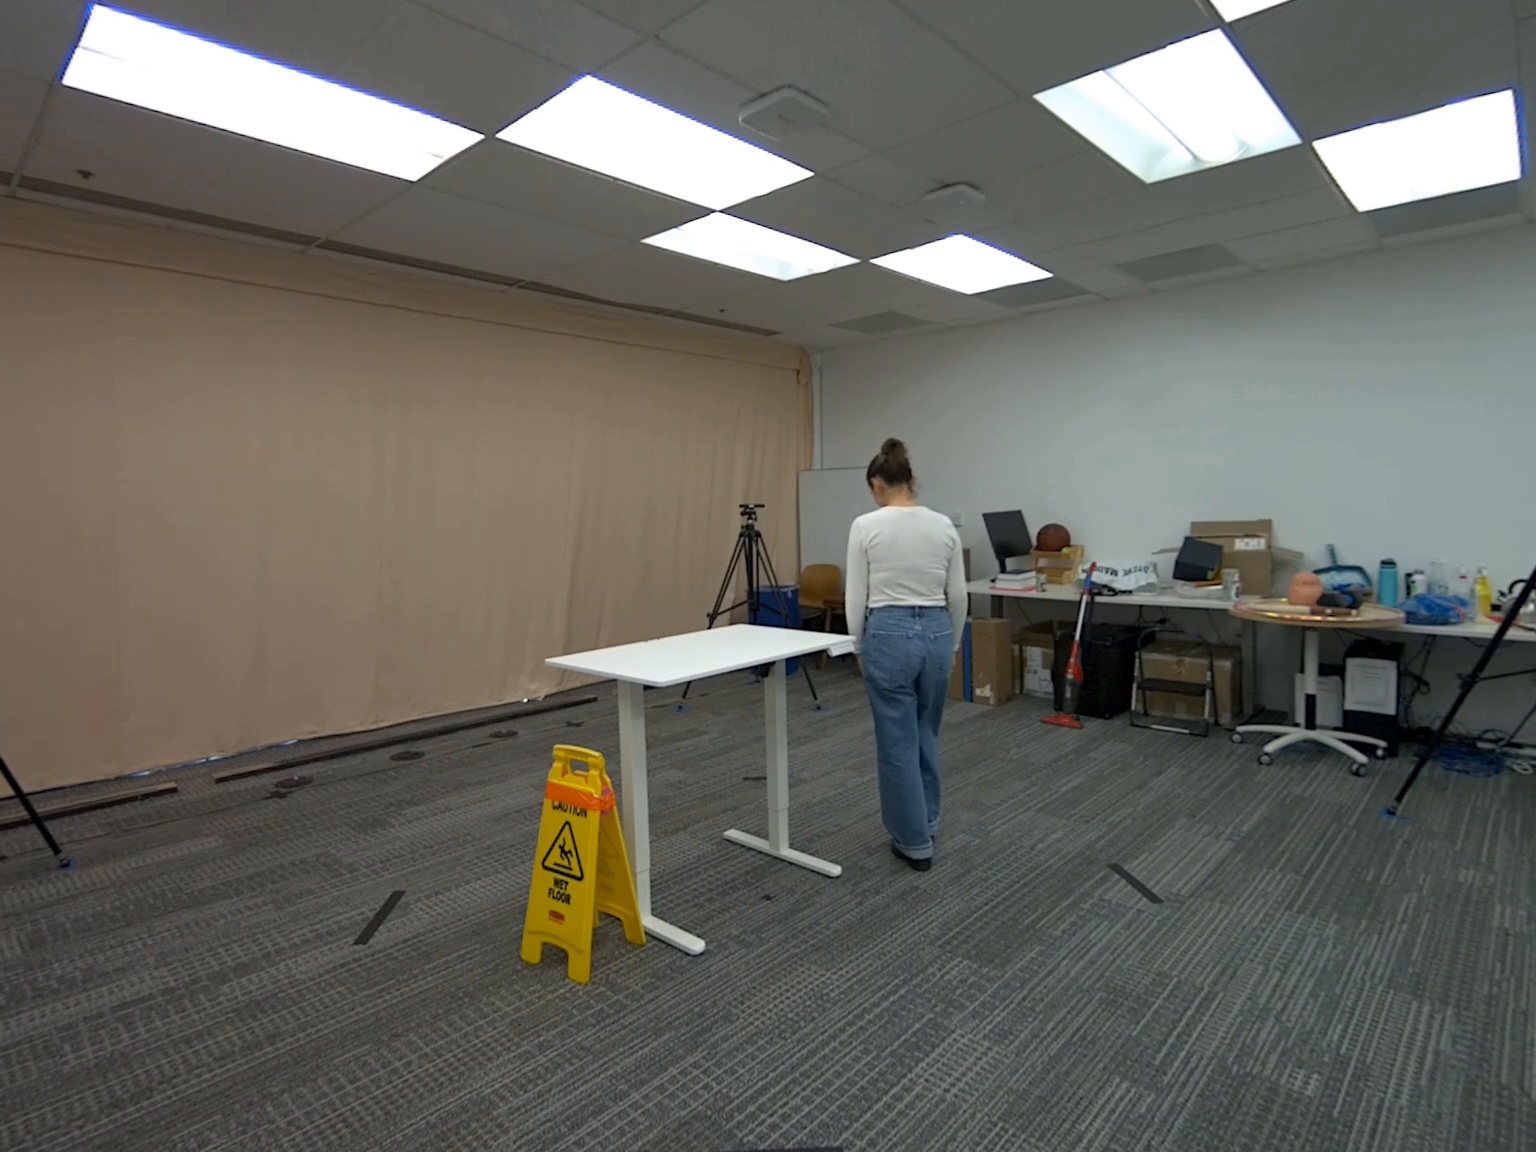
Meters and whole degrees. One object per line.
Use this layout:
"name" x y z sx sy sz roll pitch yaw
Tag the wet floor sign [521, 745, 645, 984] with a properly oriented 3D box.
"wet floor sign" -0.589 0.862 2.627 0.291 0.644 0.282 0 4 34
